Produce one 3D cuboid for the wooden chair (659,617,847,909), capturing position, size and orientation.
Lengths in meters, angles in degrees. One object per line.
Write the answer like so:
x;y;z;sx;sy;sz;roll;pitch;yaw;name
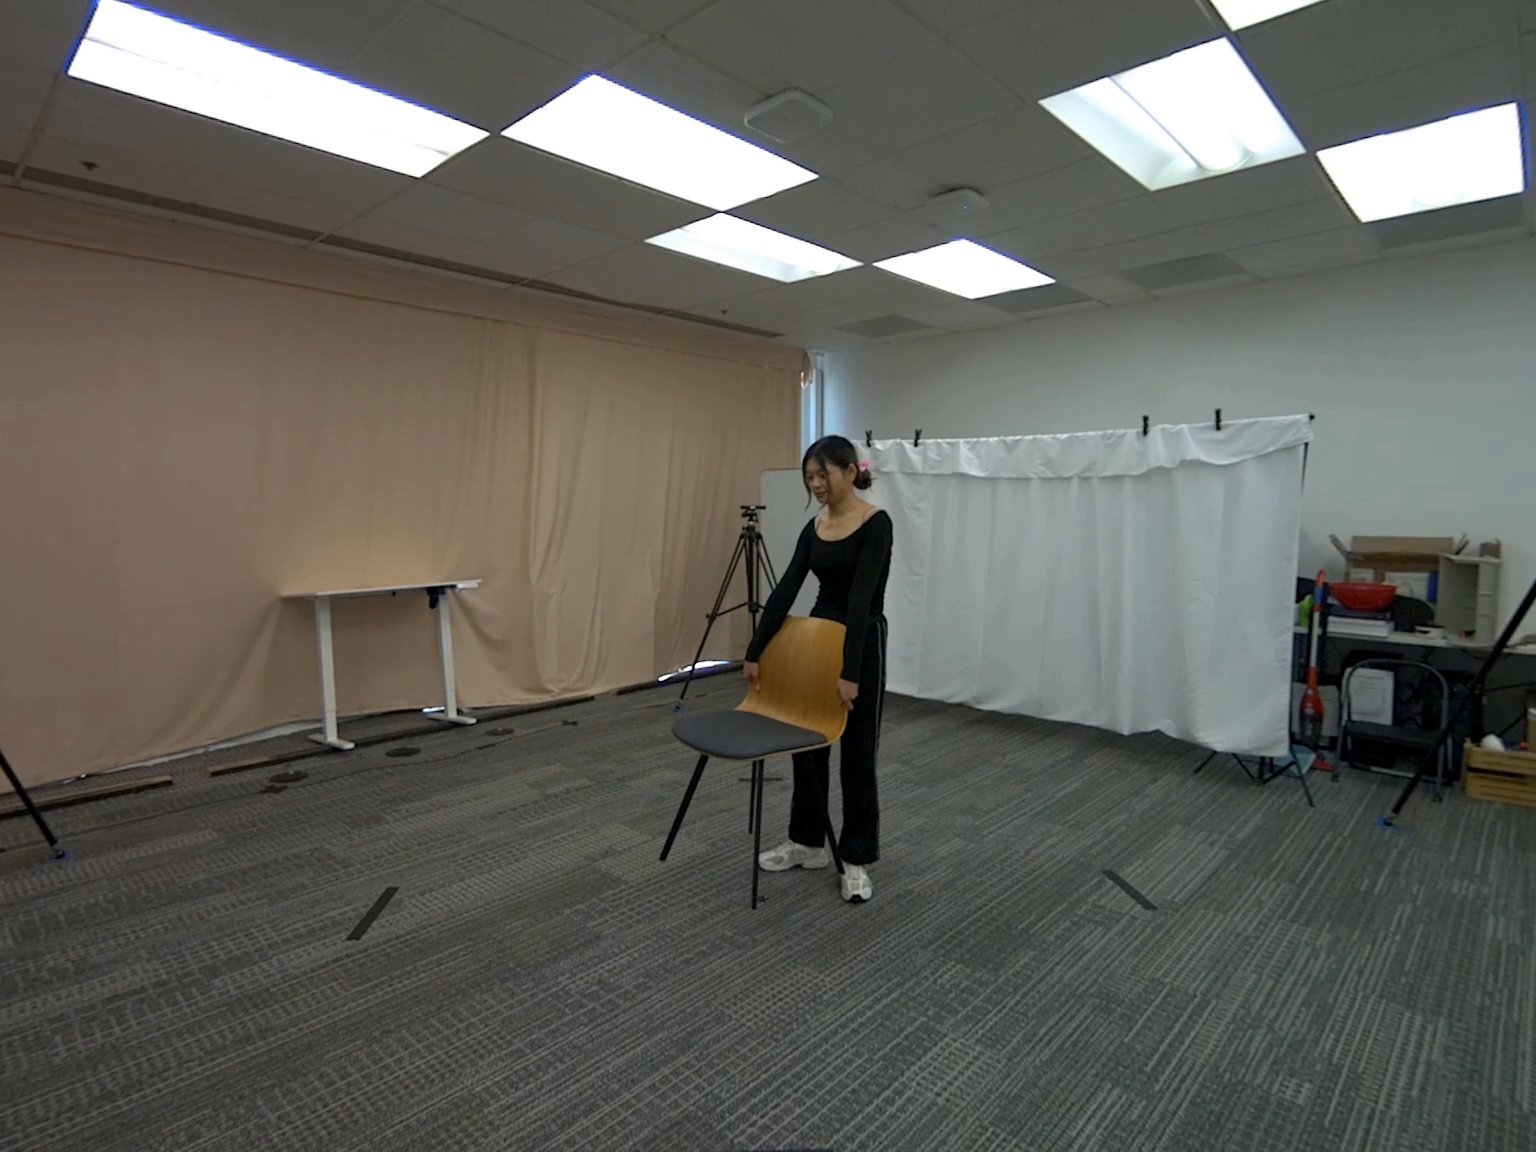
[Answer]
-0.028;0.574;2.846;0.494;0.877;0.505;7;-1;44;wooden chair
